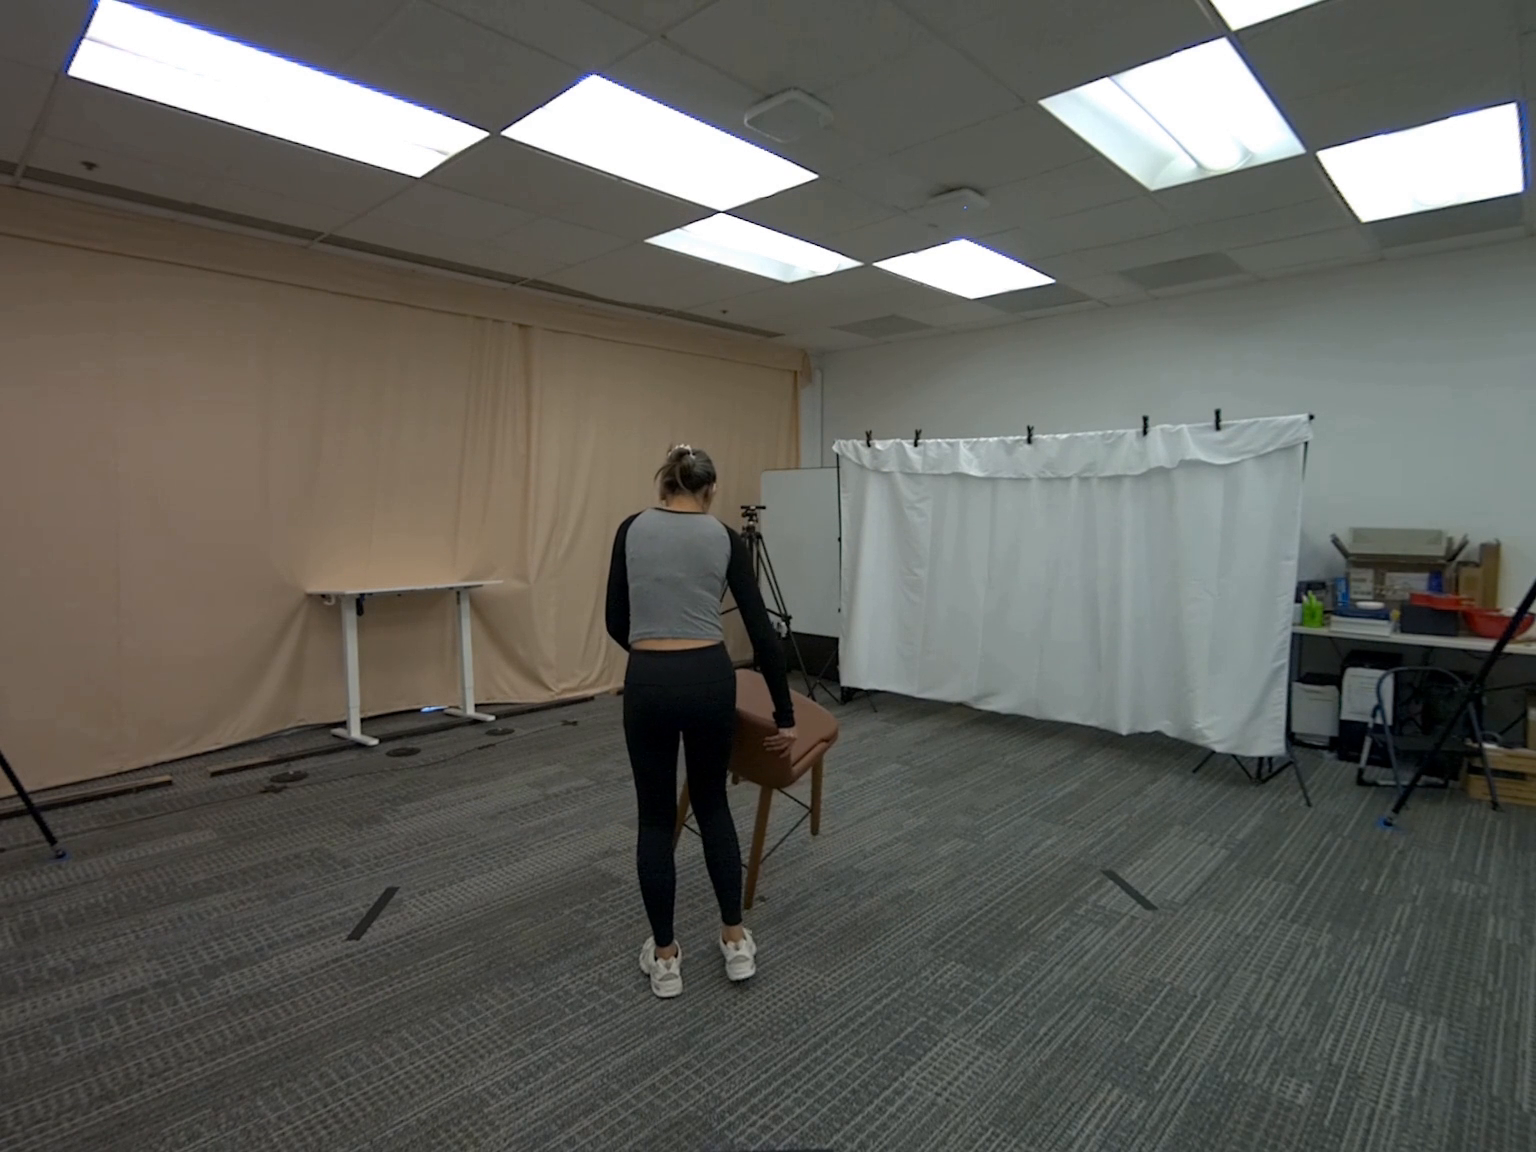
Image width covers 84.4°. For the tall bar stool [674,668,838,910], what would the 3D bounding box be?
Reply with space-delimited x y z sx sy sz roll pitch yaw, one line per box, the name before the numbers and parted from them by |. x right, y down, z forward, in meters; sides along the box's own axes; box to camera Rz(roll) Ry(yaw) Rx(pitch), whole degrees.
tall bar stool | -0.048 0.635 2.912 0.471 0.877 0.460 26 39 27
